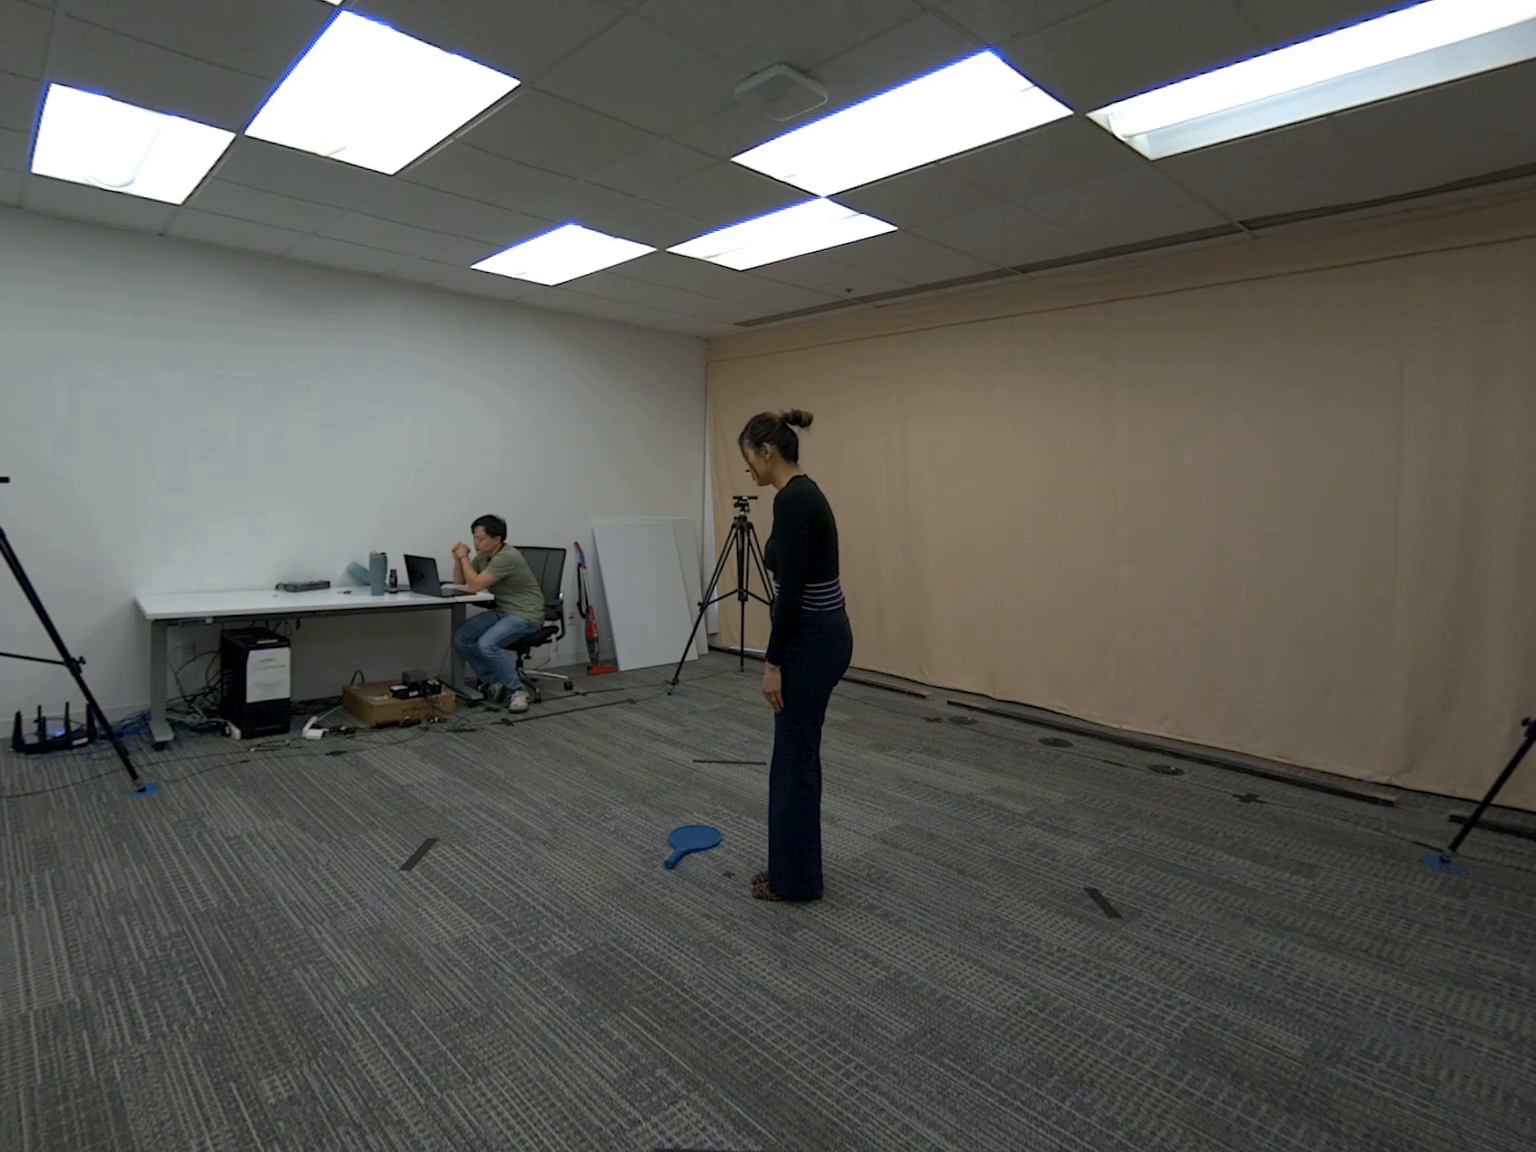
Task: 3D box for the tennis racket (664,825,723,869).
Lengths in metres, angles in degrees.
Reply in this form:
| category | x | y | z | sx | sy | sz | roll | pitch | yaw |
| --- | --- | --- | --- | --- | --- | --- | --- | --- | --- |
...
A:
| category | x | y | z | sx | sy | sz | roll | pitch | yaw |
| --- | --- | --- | --- | --- | --- | --- | --- | --- | --- |
| tennis racket | -0.320 | 1.064 | 3.341 | 0.216 | 0.032 | 0.428 | 3 | 4 | 14 |
